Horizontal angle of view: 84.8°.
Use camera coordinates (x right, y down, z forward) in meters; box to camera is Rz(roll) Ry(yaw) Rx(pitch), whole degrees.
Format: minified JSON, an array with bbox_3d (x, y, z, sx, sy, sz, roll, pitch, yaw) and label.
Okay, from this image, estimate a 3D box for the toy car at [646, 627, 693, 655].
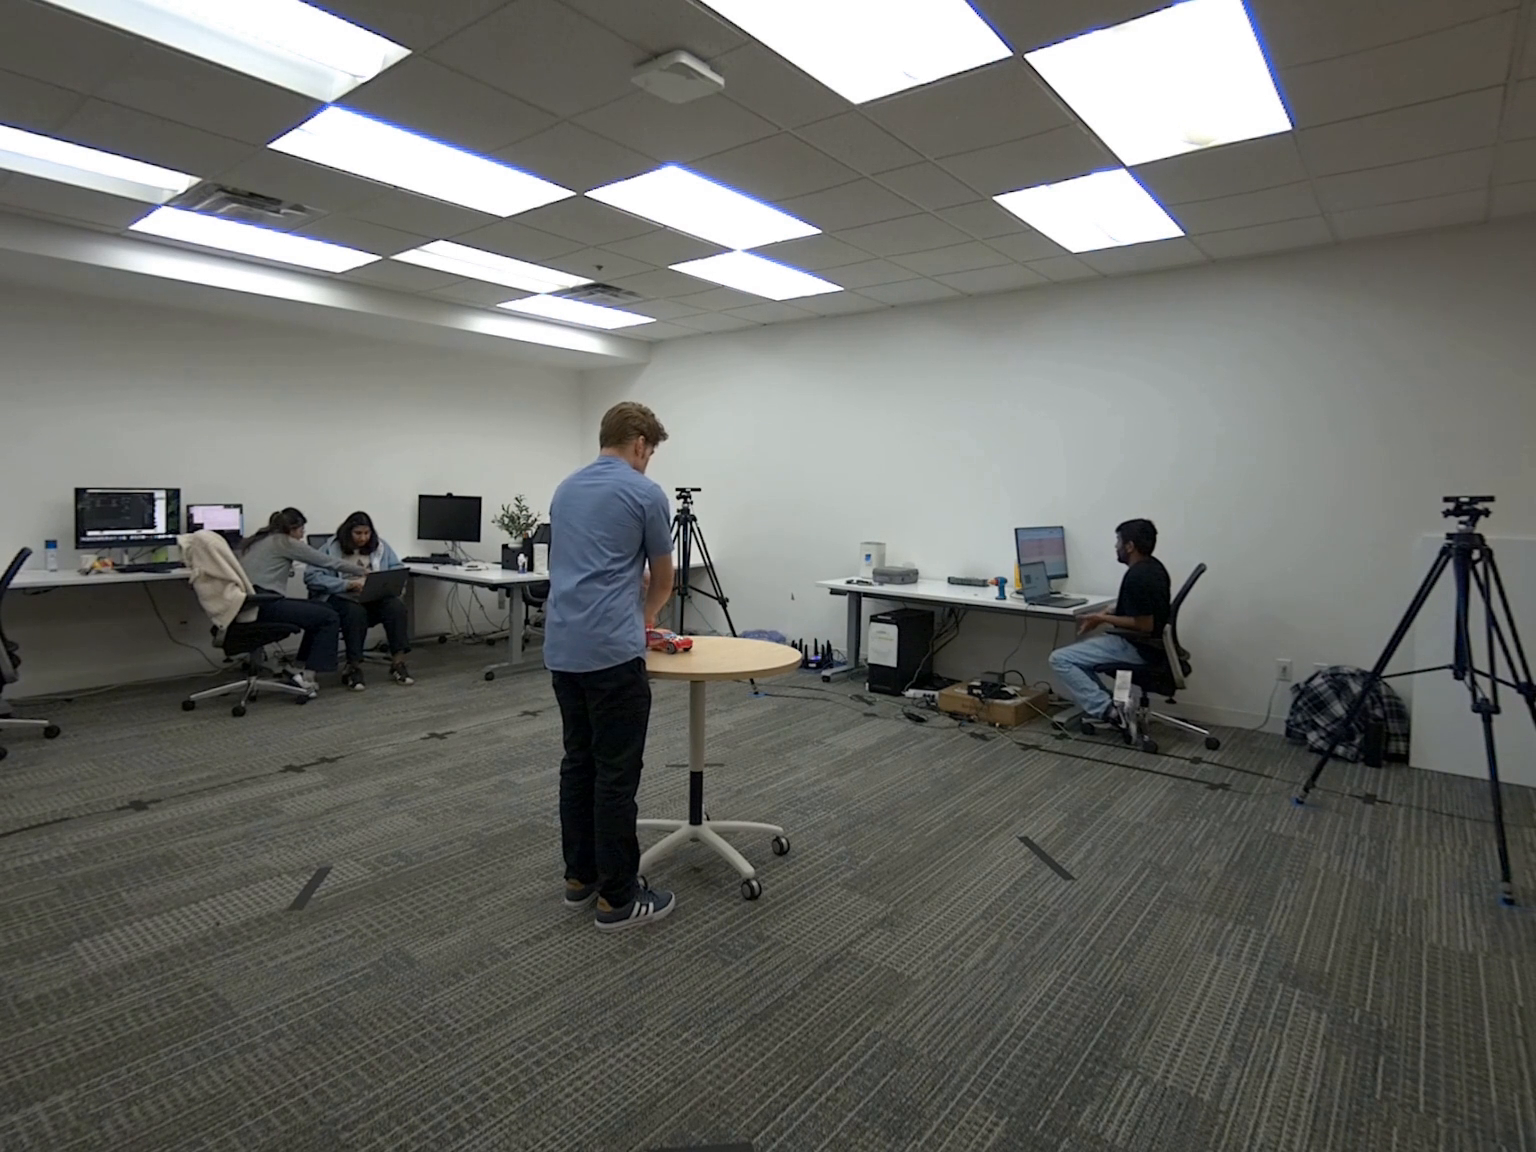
[{"bbox_3d":[-0.414,0.245,3.207,0.264,0.082,0.126,16,13,34],"label":"toy car"}]
